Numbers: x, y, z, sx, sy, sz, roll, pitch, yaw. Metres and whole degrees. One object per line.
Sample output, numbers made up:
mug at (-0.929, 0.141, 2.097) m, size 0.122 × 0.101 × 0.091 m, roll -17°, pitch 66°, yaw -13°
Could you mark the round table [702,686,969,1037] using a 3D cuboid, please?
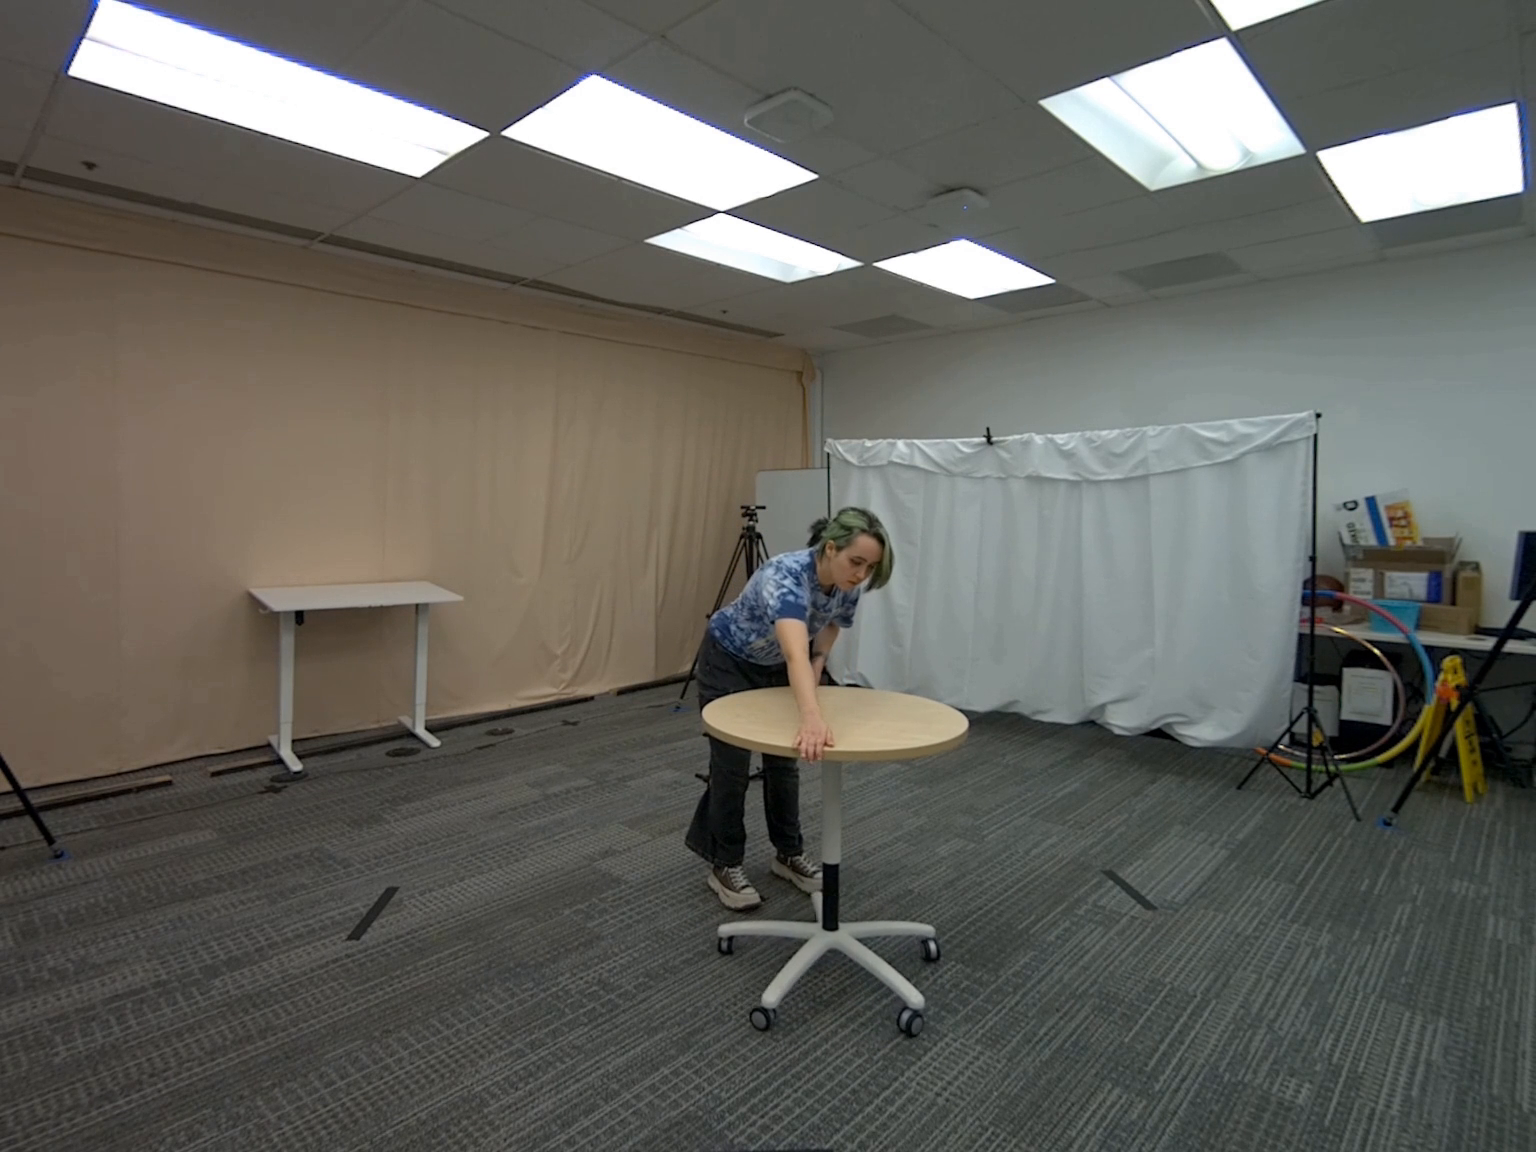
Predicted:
round table at (0.197, 0.798, 2.487) m, size 0.763 × 0.792 × 0.767 m, roll 0°, pitch 4°, yaw -2°
